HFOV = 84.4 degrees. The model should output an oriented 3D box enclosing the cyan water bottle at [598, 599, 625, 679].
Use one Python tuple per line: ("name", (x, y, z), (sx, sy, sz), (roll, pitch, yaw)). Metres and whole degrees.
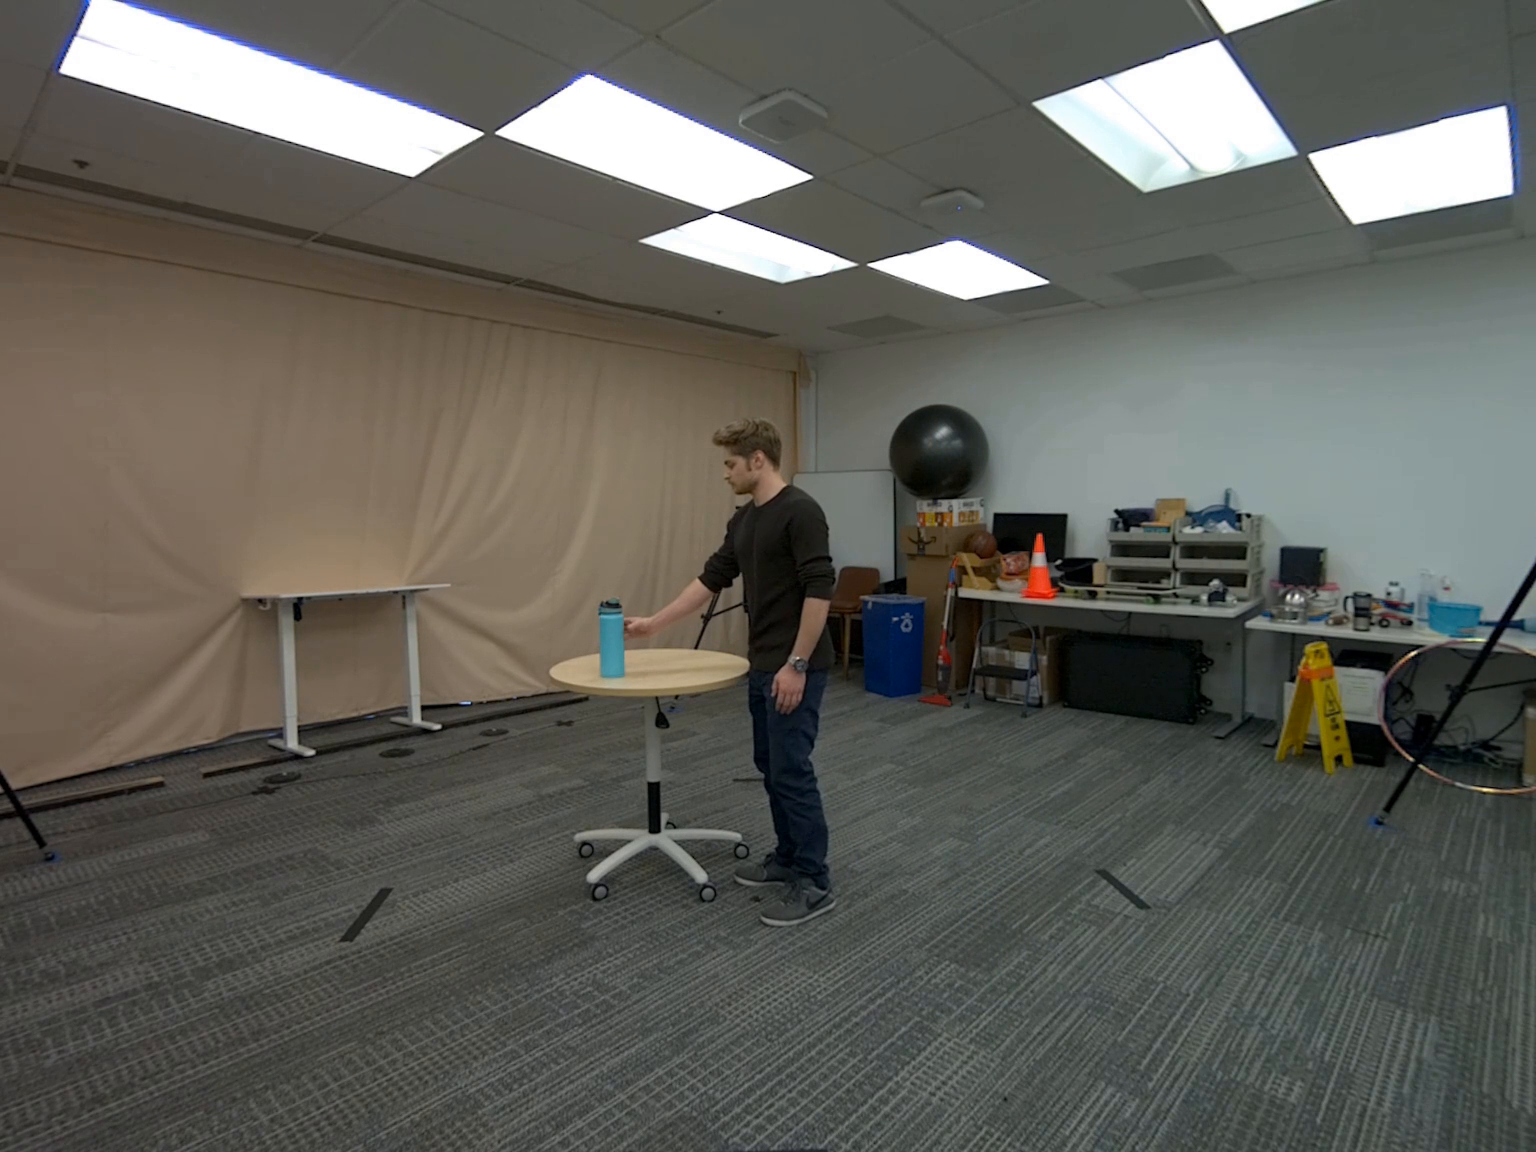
("cyan water bottle", (-0.563, 0.225, 3.056), (0.092, 0.283, 0.092), (-2, 1, -2))
